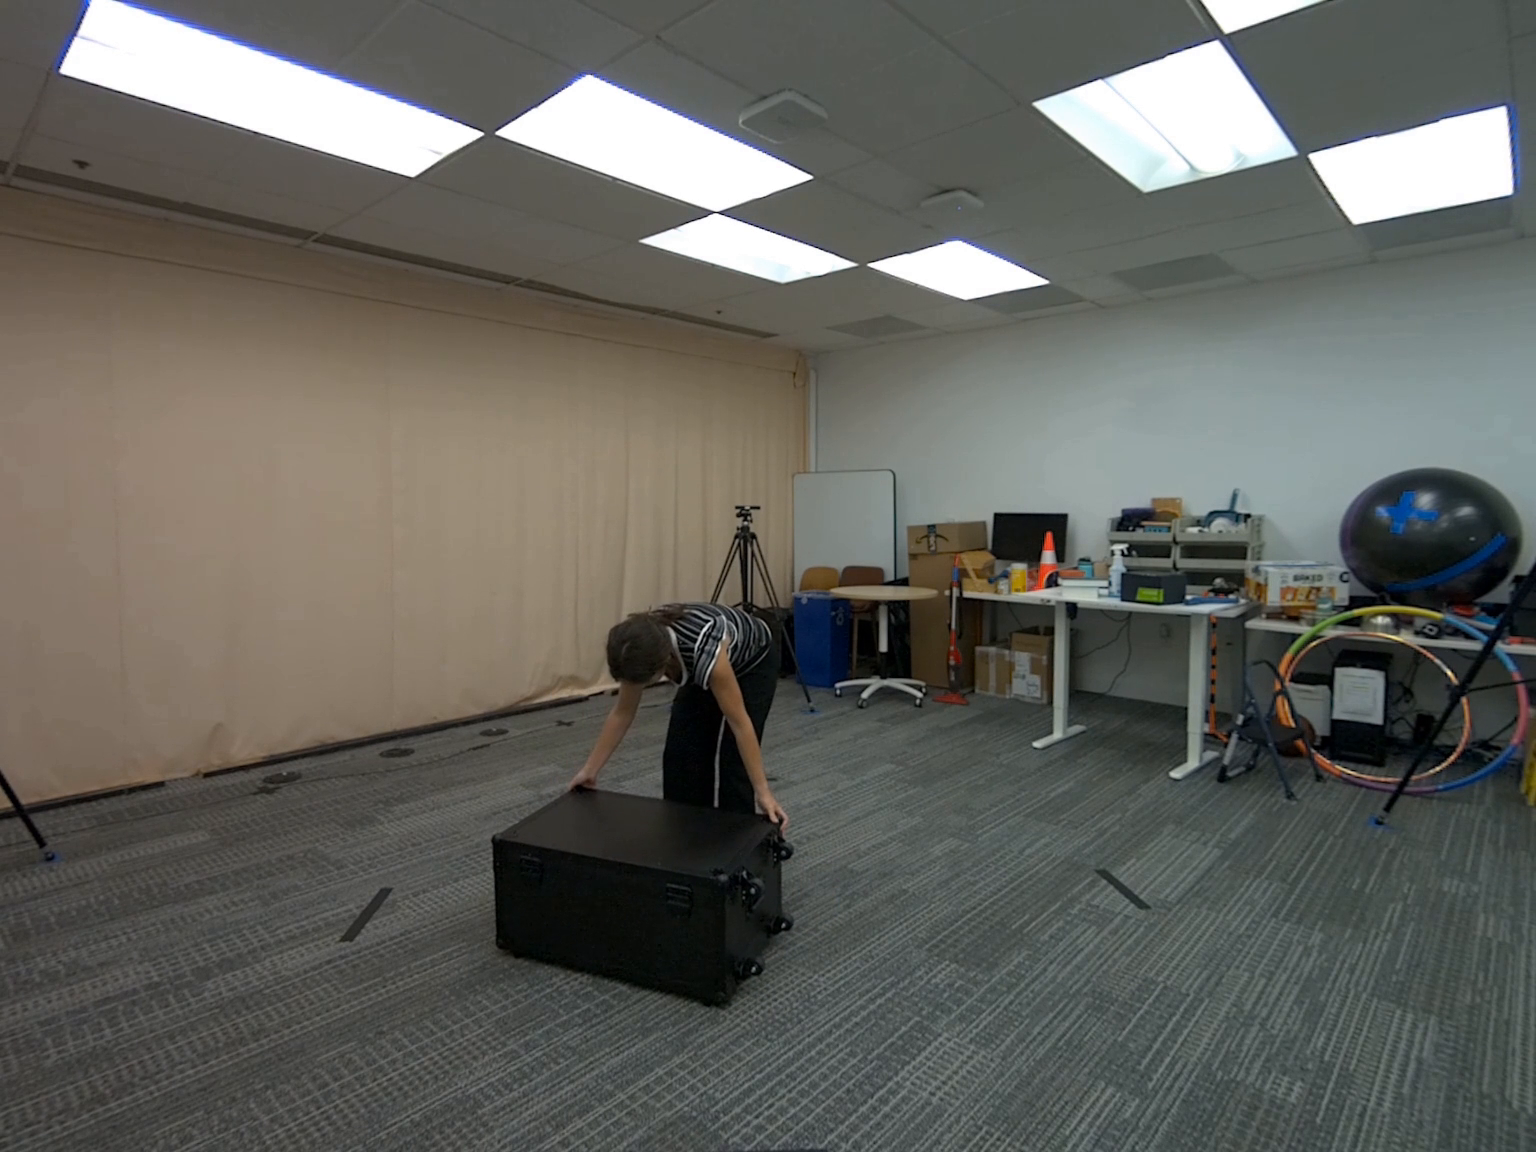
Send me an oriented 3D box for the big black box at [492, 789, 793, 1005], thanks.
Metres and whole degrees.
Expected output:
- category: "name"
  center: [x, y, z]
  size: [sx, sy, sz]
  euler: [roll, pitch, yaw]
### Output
- category: "big black box"
  center: [-0.369, 0.977, 2.661]
  size: [0.881, 0.395, 0.511]
  euler: [1, 4, 22]
